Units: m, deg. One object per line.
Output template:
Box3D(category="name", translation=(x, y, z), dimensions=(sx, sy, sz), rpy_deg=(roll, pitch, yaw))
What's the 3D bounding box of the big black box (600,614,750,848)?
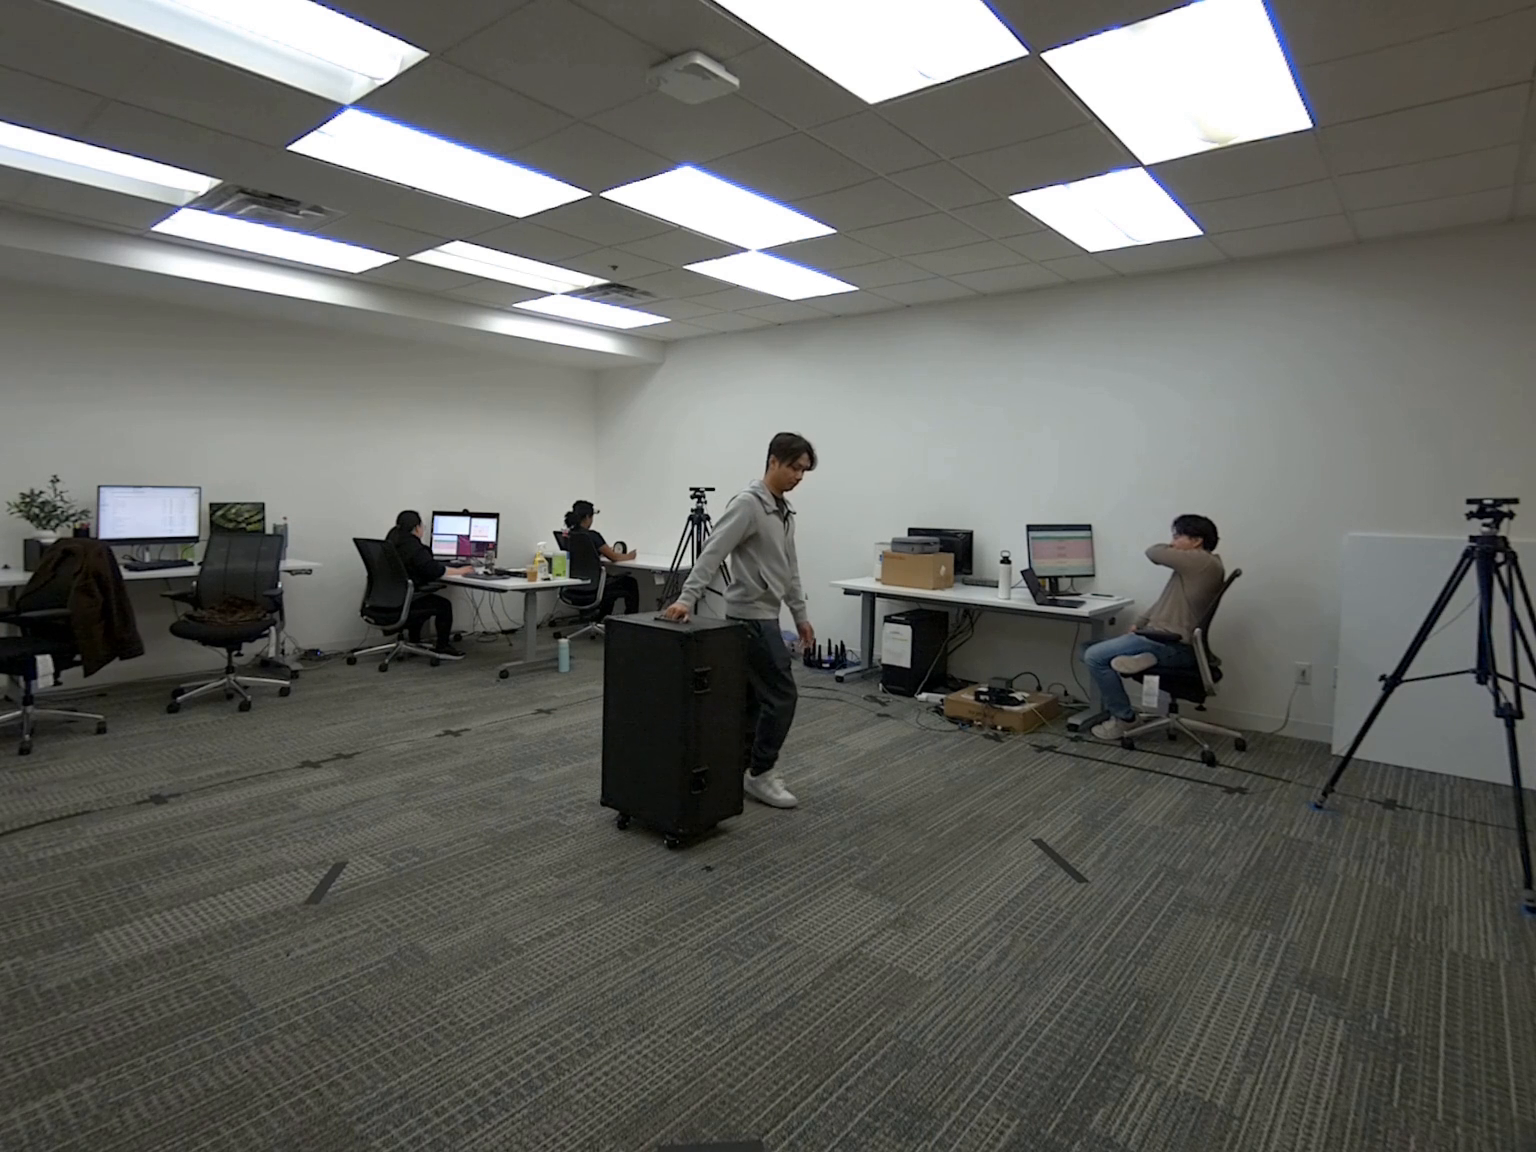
Box3D(category="big black box", translation=(-0.400, 0.603, 3.487), dimensions=(0.538, 0.861, 0.384), rpy_deg=(3, 2, 40))
